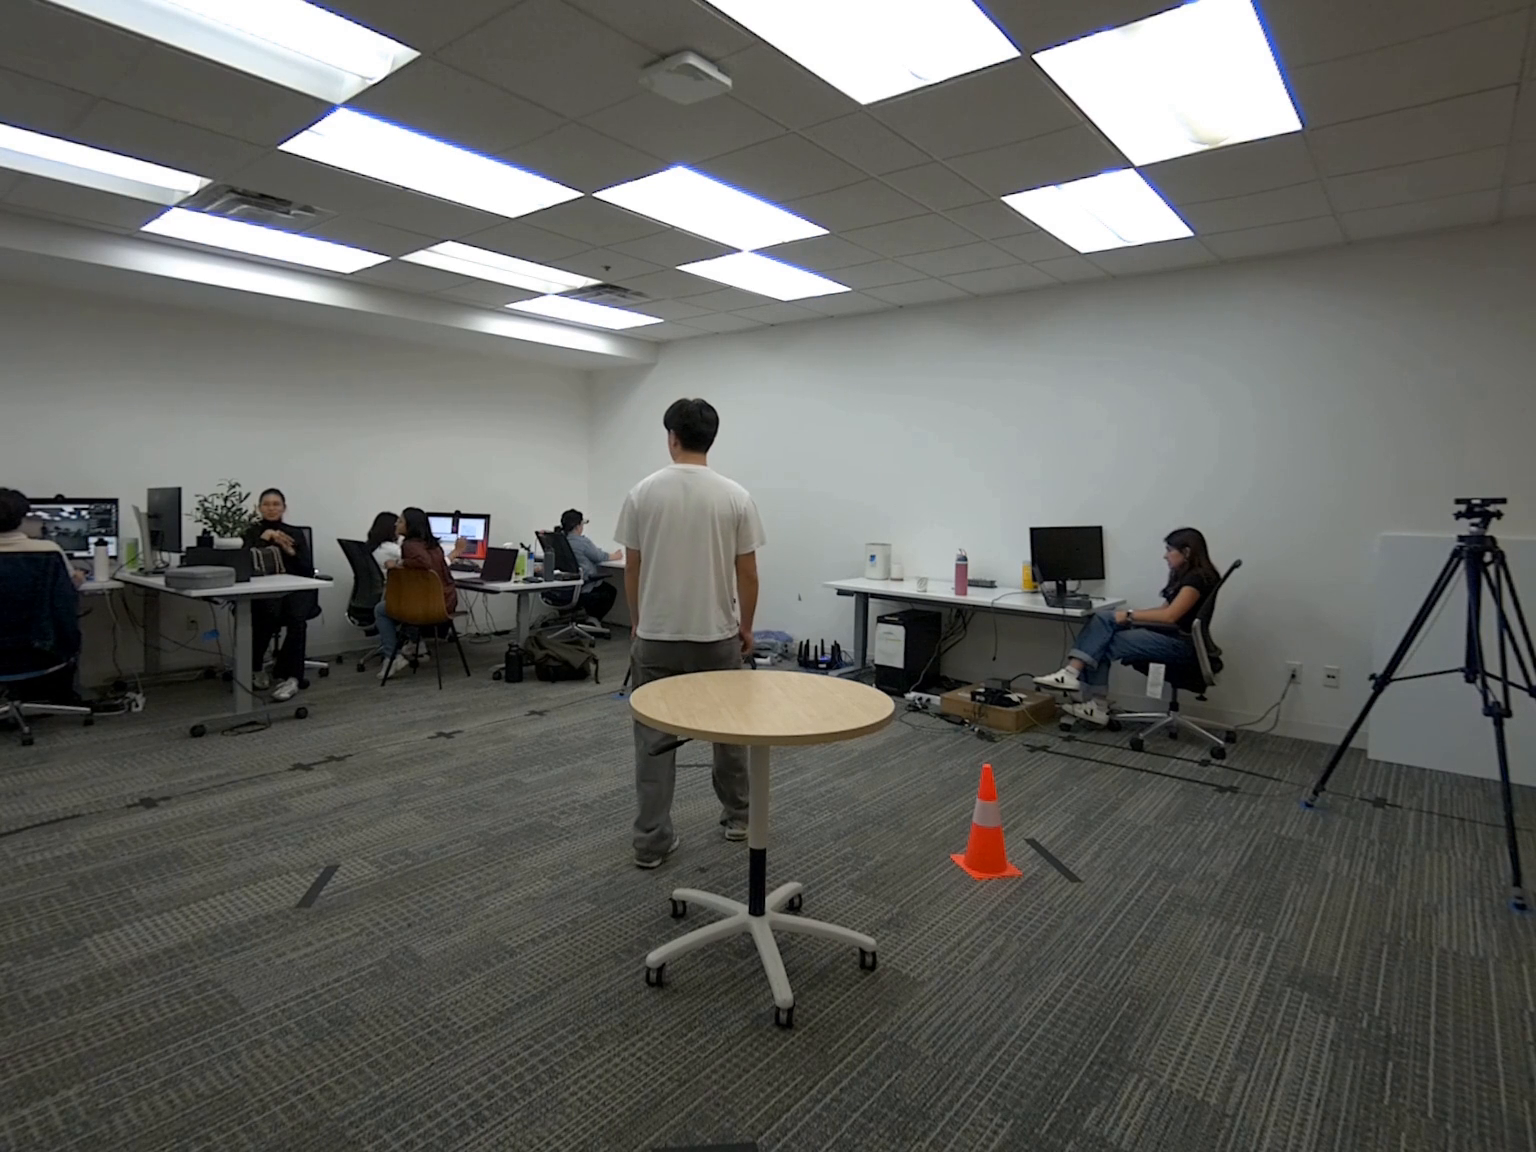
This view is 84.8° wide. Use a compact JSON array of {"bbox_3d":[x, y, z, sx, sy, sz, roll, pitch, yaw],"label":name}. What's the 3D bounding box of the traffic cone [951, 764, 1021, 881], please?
[{"bbox_3d":[0.834,0.894,3.192,0.202,0.382,0.207,1,5,-16],"label":"traffic cone"}]
